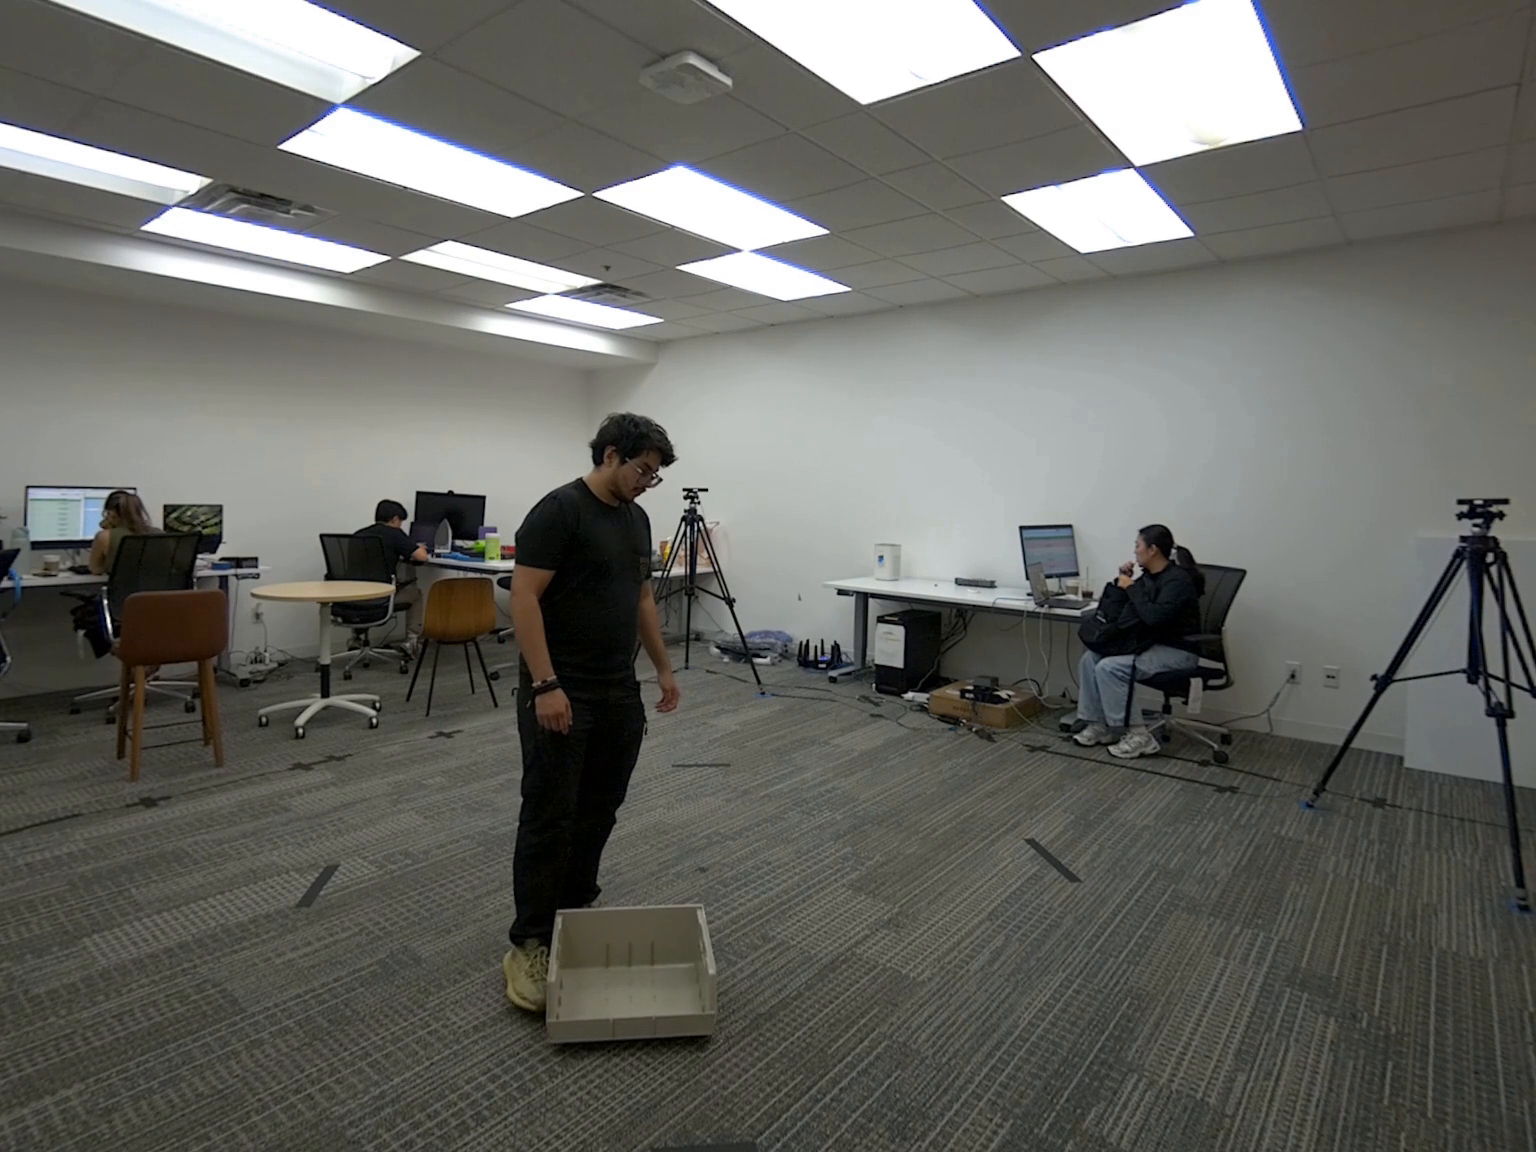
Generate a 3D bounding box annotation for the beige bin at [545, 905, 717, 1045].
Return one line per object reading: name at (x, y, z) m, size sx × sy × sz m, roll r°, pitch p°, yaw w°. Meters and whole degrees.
beige bin at (-0.366, 1.063, 2.266) m, size 0.419 × 0.188 × 0.382 m, roll 0°, pitch 5°, yaw -8°
